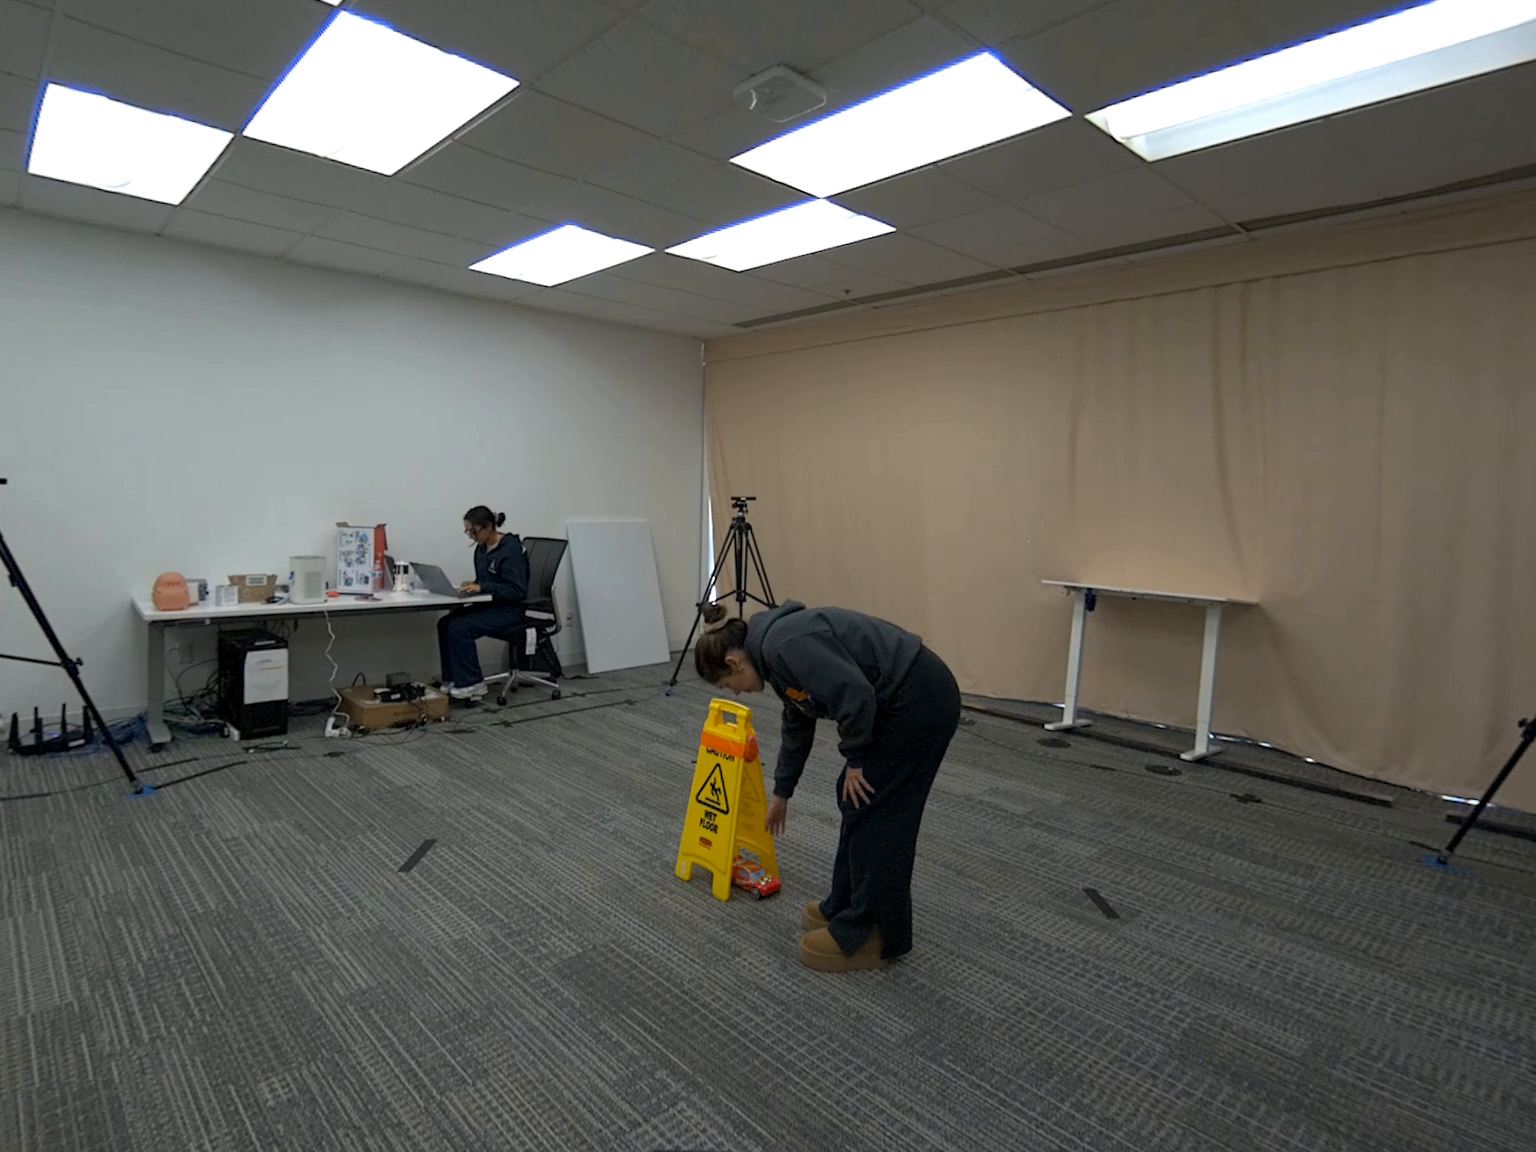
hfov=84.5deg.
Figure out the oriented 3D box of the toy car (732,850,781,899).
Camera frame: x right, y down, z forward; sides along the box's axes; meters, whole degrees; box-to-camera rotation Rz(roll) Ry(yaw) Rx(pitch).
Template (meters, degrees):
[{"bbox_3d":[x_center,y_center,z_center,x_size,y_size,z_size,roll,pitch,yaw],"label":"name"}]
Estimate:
[{"bbox_3d":[-0.088,1.086,3.024,0.127,0.082,0.262,-4,16,-43],"label":"toy car"}]
